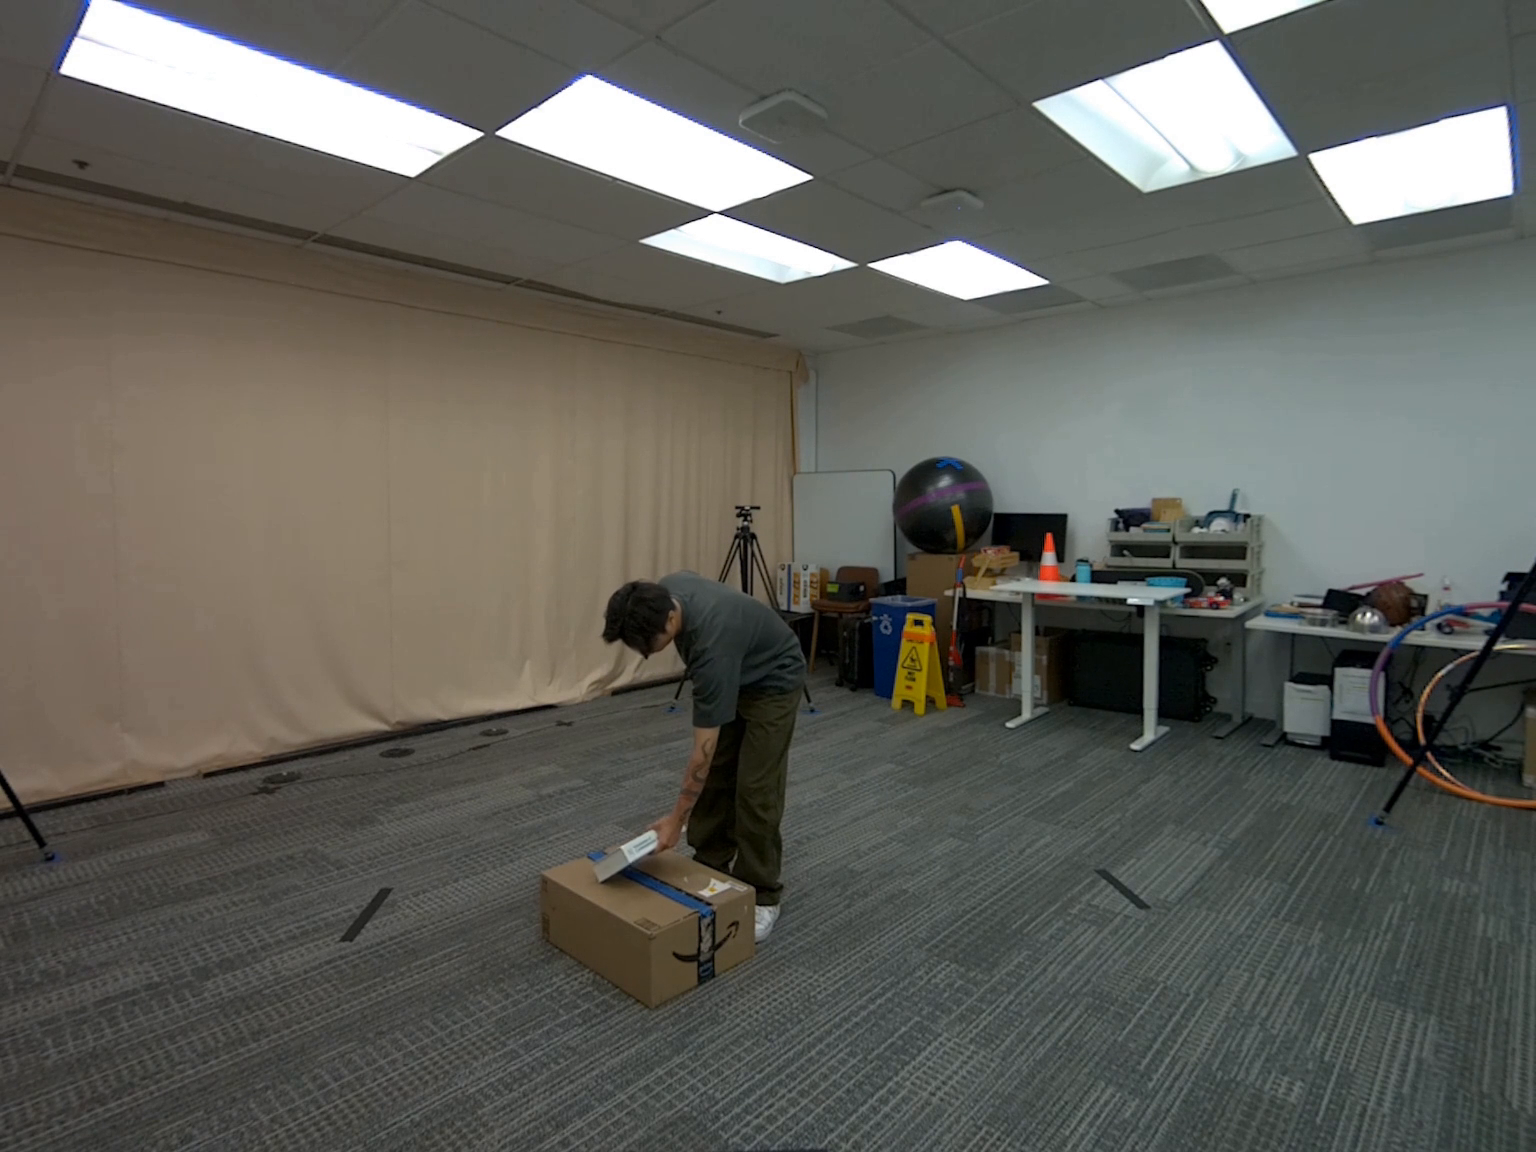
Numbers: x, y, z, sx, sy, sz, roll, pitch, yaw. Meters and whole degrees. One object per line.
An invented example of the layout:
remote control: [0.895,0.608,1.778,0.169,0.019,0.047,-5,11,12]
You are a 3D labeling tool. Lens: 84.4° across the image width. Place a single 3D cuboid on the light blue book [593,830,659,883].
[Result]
light blue book: [-0.410,0.872,2.691,0.193,0.060,0.254,-39,-15,34]
